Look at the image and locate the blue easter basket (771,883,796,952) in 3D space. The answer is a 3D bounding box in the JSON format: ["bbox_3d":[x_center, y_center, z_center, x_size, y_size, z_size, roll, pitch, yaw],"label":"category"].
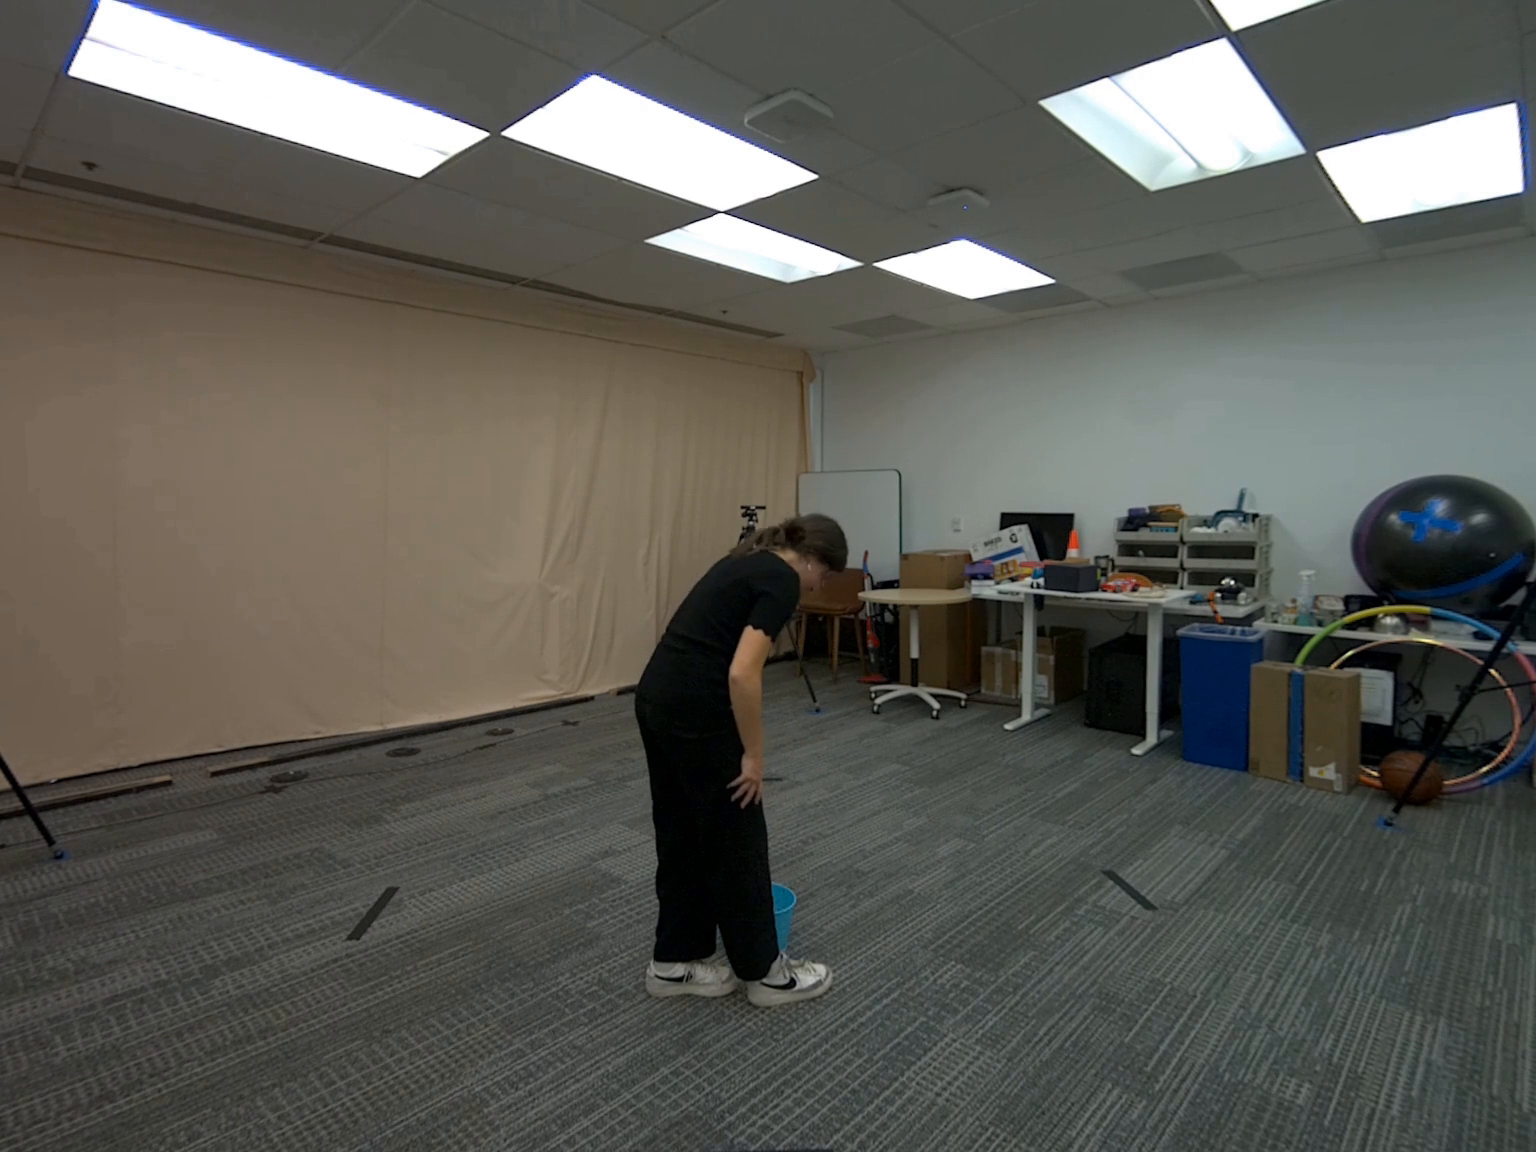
[{"bbox_3d":[-0.025,1.094,2.674,0.243,0.155,0.244,0,5,-2],"label":"blue easter basket"}]
